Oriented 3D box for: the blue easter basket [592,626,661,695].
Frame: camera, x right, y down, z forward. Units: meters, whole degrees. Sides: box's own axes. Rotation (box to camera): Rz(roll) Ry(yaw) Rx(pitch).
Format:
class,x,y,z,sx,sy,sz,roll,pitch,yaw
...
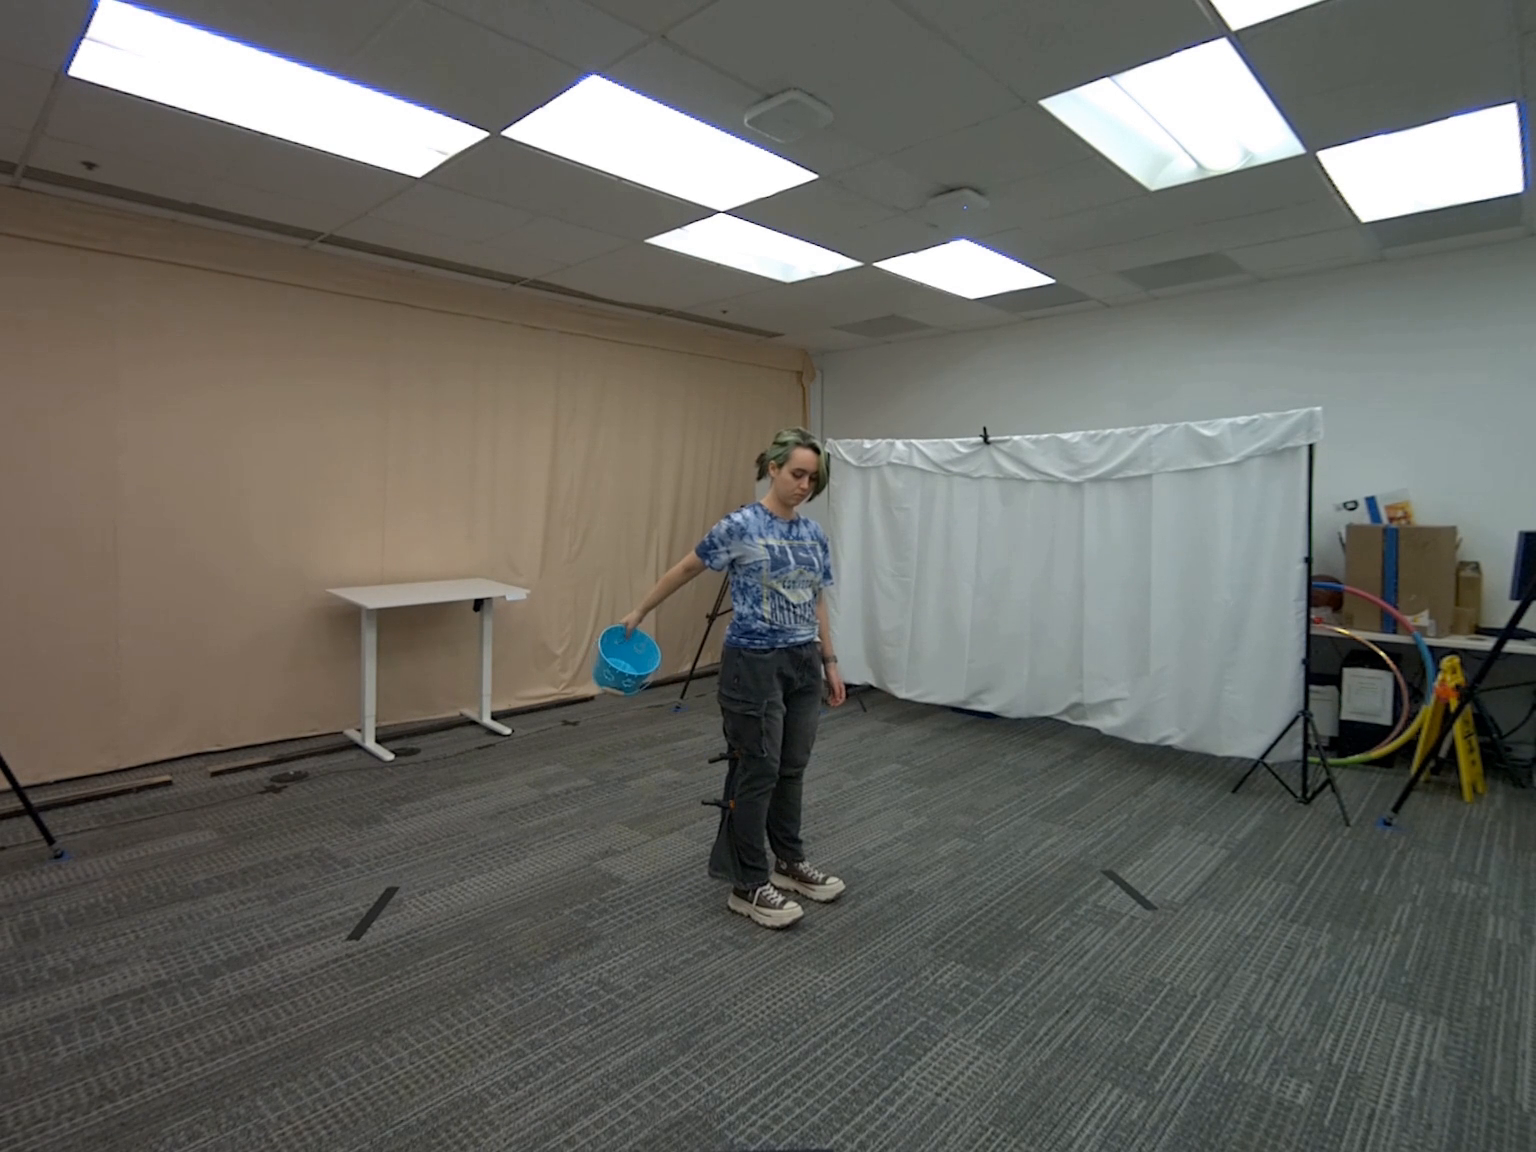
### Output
class,x,y,z,sx,sy,sz,roll,pitch,yaw
blue easter basket,-0.505,0.328,2.981,0.240,0.155,0.248,17,33,-13
